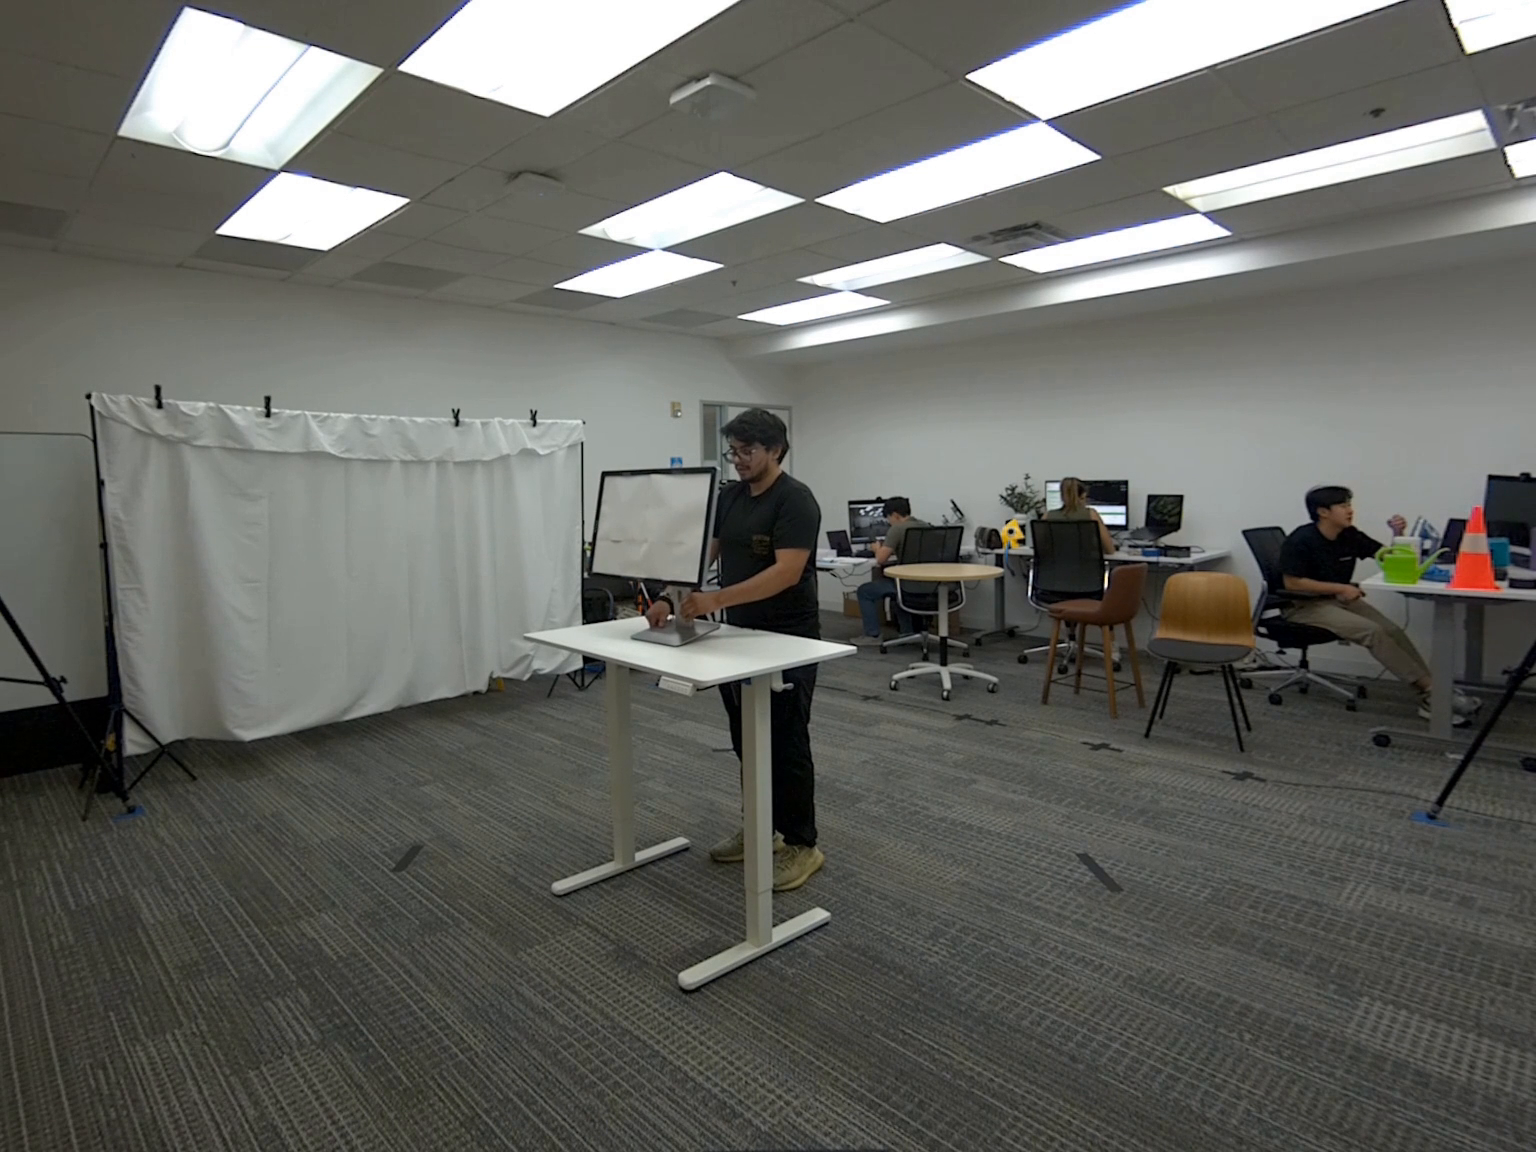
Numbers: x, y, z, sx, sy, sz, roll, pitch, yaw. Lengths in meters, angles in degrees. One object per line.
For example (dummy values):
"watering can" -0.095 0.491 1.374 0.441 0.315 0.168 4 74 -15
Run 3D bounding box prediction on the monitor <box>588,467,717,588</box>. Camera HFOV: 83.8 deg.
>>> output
"monitor" -0.325 -0.072 2.767 0.583 0.553 0.204 3 4 43
